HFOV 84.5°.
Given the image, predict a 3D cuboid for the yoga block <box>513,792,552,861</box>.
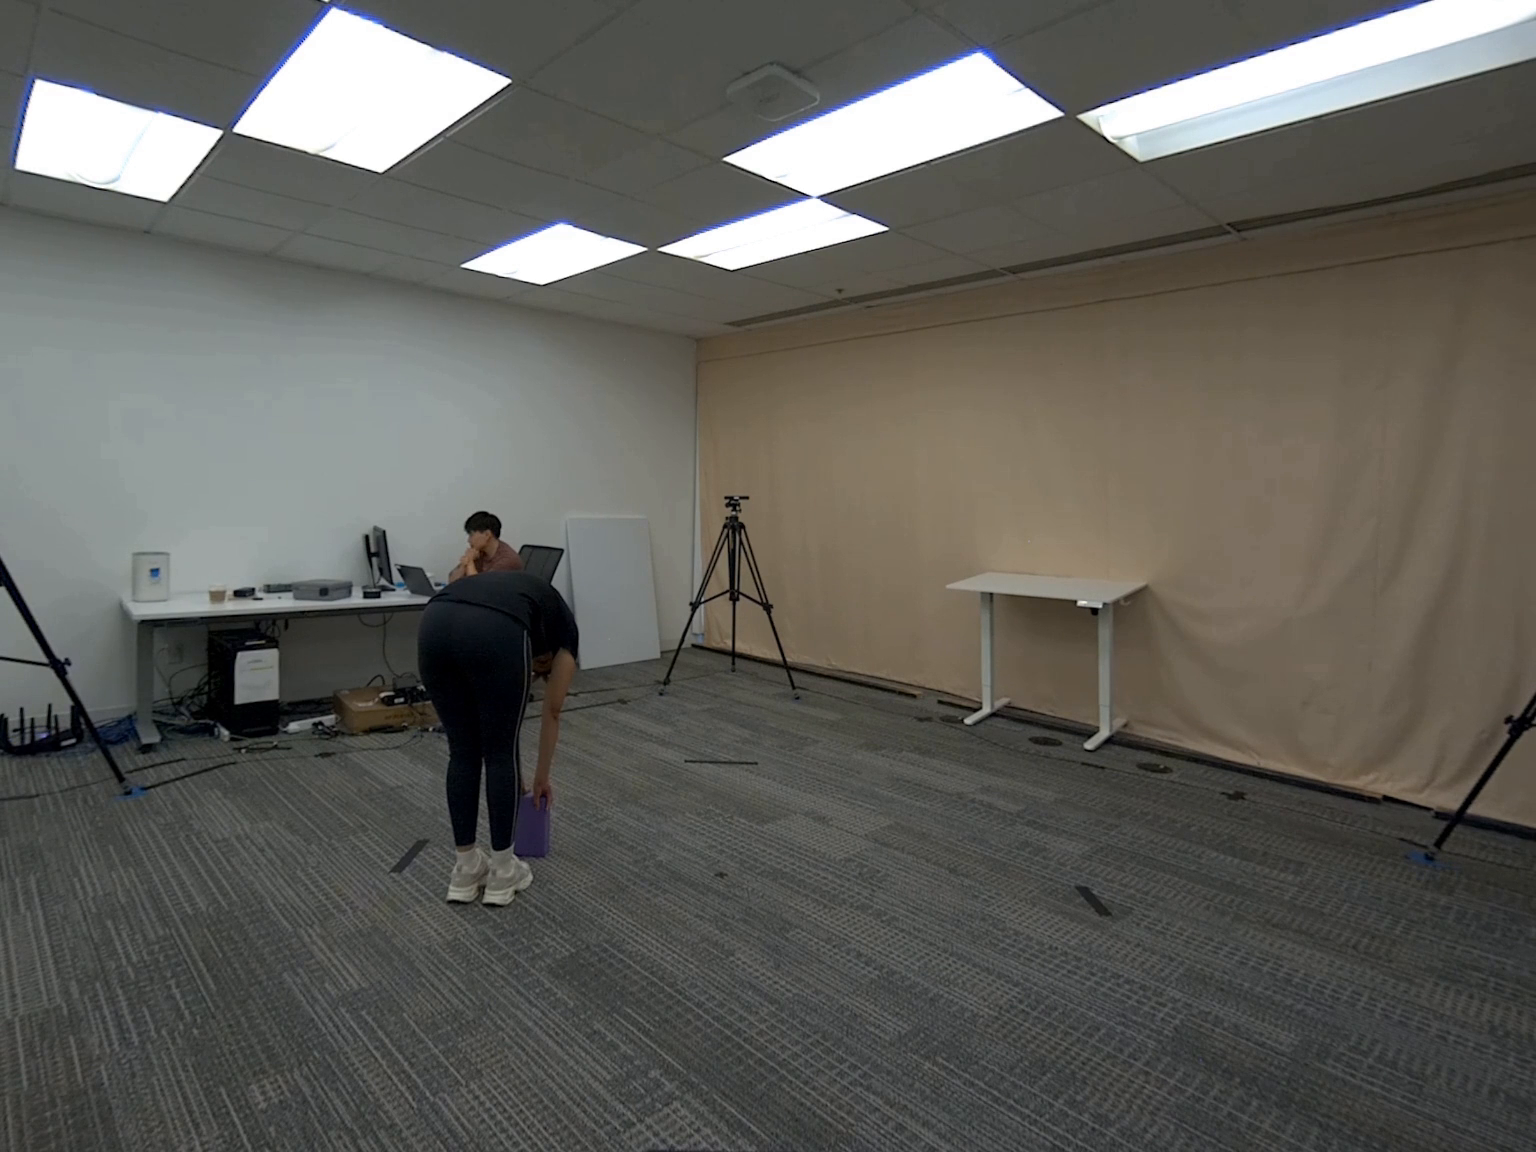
[{"bbox_3d":[-0.930,0.966,3.254,0.149,0.229,0.076,4,4,5],"label":"yoga block"}]
